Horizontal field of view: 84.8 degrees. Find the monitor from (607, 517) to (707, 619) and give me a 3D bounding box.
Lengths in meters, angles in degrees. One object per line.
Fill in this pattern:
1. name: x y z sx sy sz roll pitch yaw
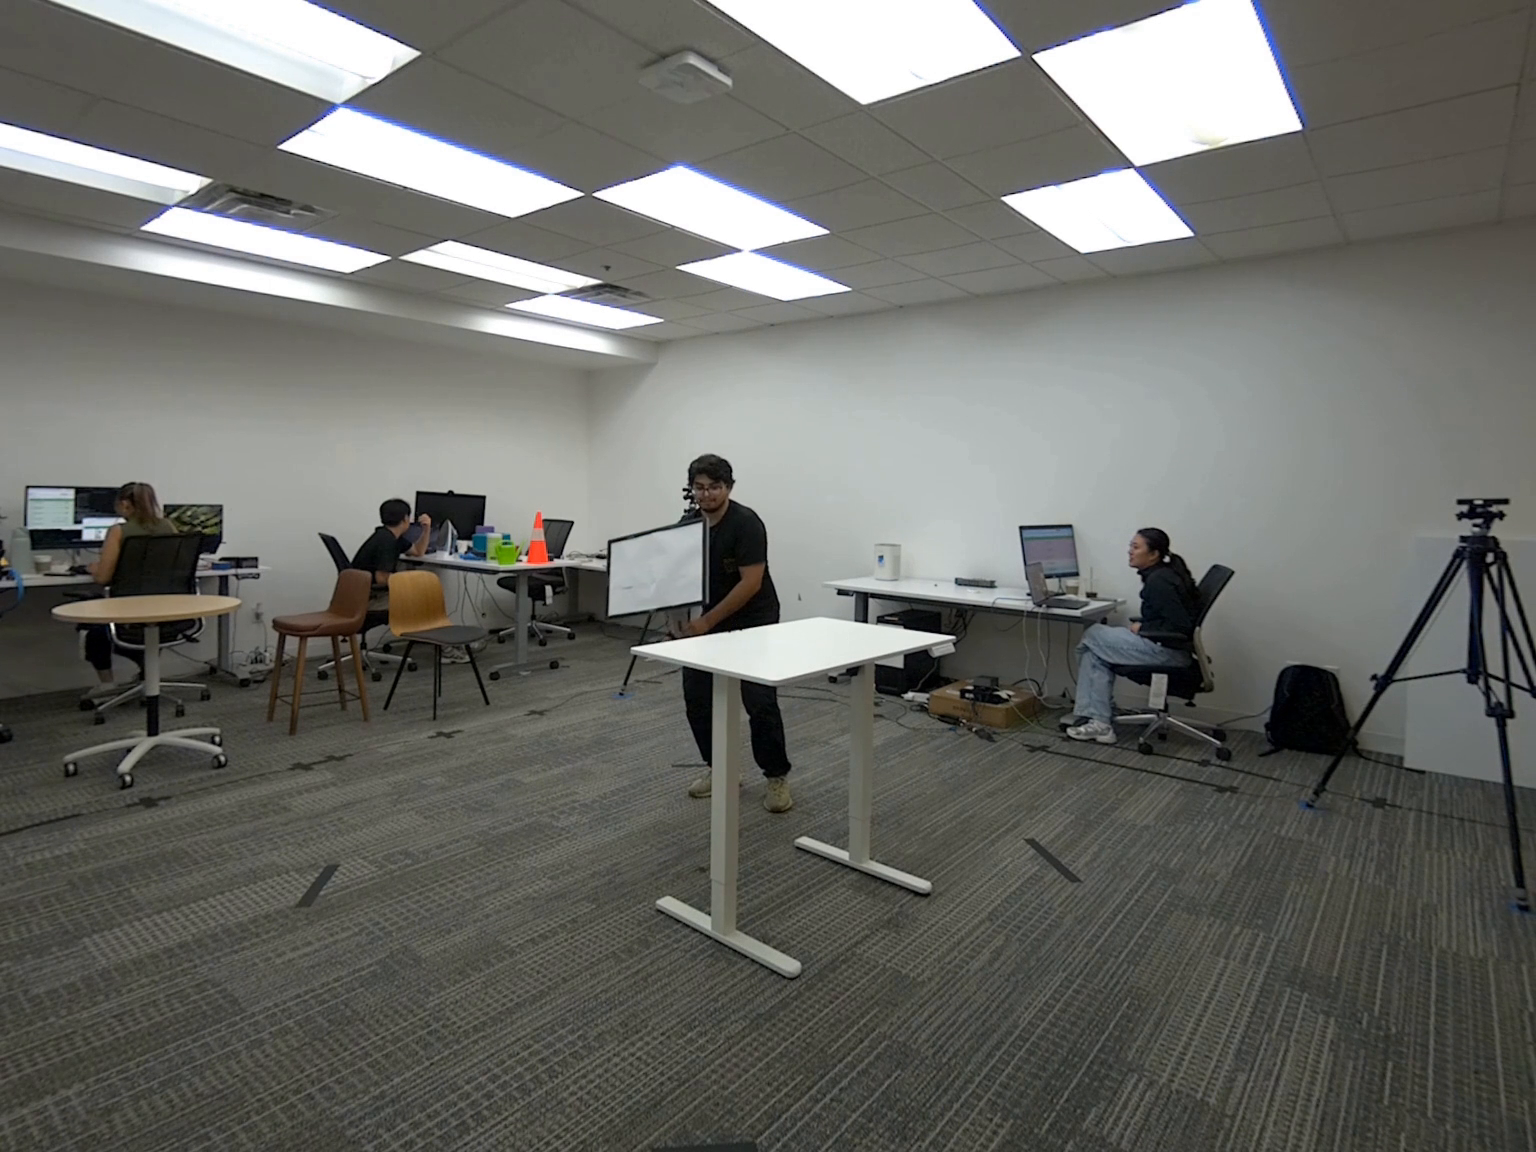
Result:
1. monitor: -0.438 0.072 3.636 0.579 0.560 0.203 -12 -11 35
